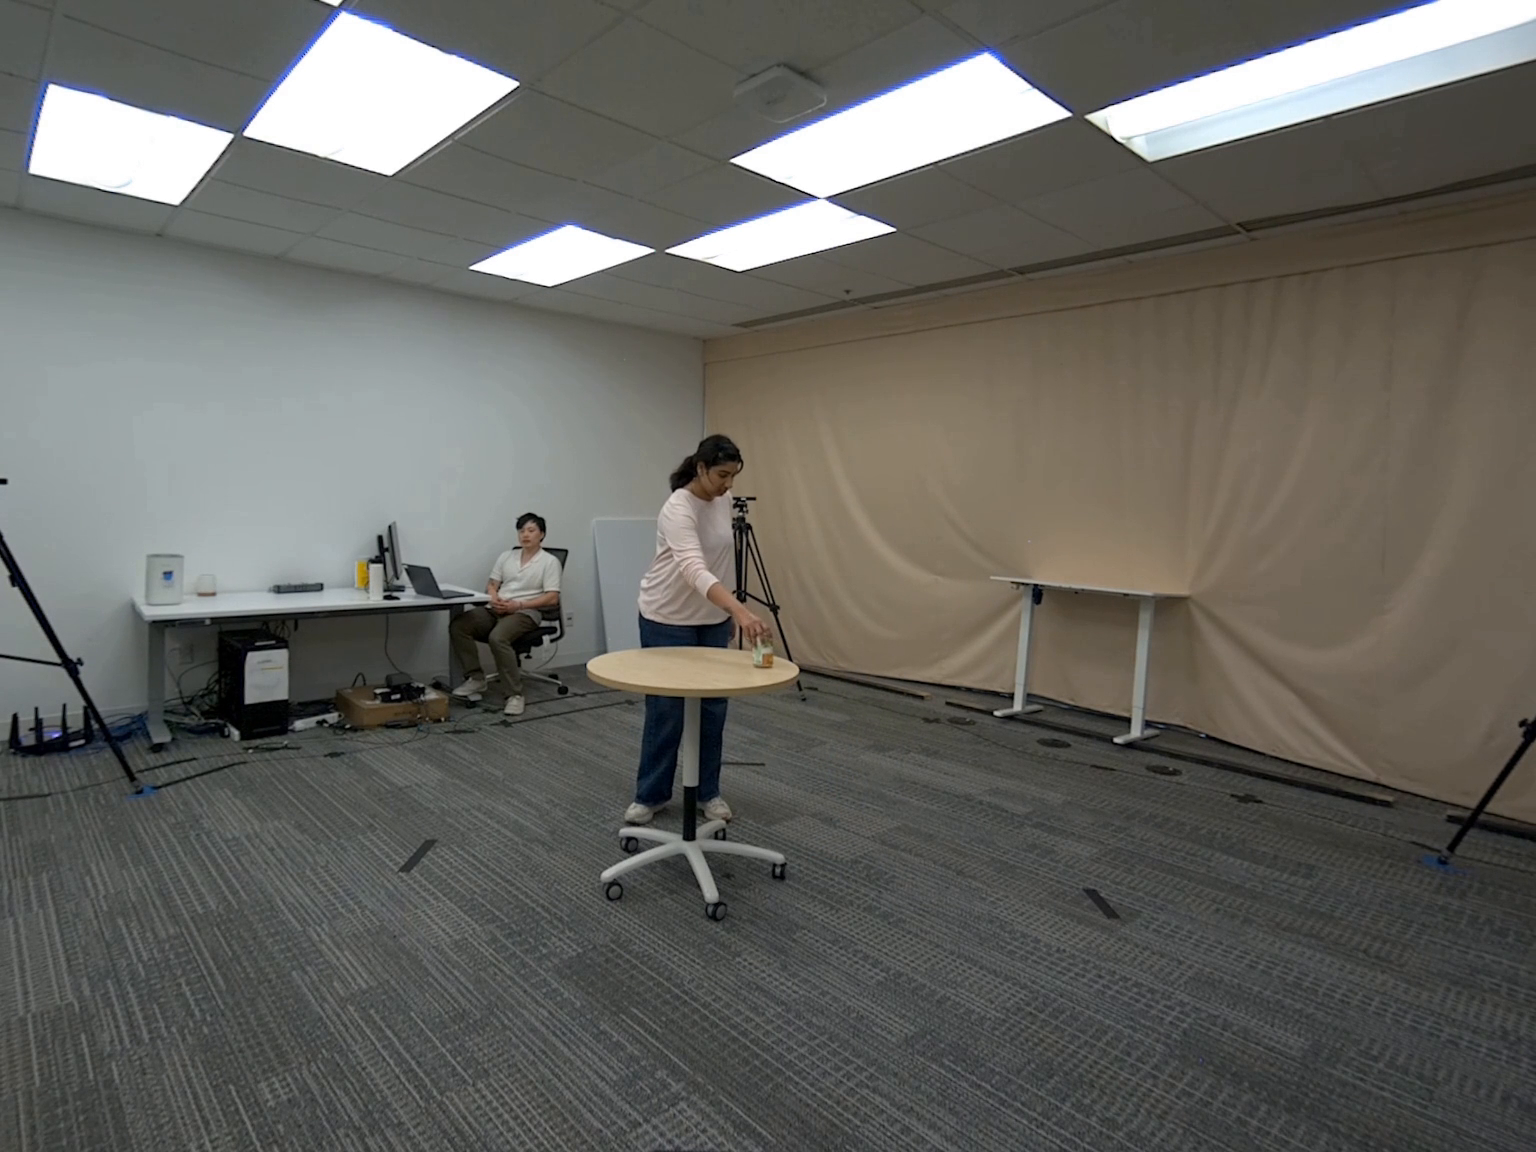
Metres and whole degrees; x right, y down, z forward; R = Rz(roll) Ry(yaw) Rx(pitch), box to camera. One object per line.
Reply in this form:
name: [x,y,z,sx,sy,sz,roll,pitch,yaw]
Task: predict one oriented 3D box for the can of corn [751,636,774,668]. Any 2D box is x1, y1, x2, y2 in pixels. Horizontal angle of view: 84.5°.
can of corn: [-0.030,0.271,3.066,0.074,0.111,0.074,-2,0,-1]
